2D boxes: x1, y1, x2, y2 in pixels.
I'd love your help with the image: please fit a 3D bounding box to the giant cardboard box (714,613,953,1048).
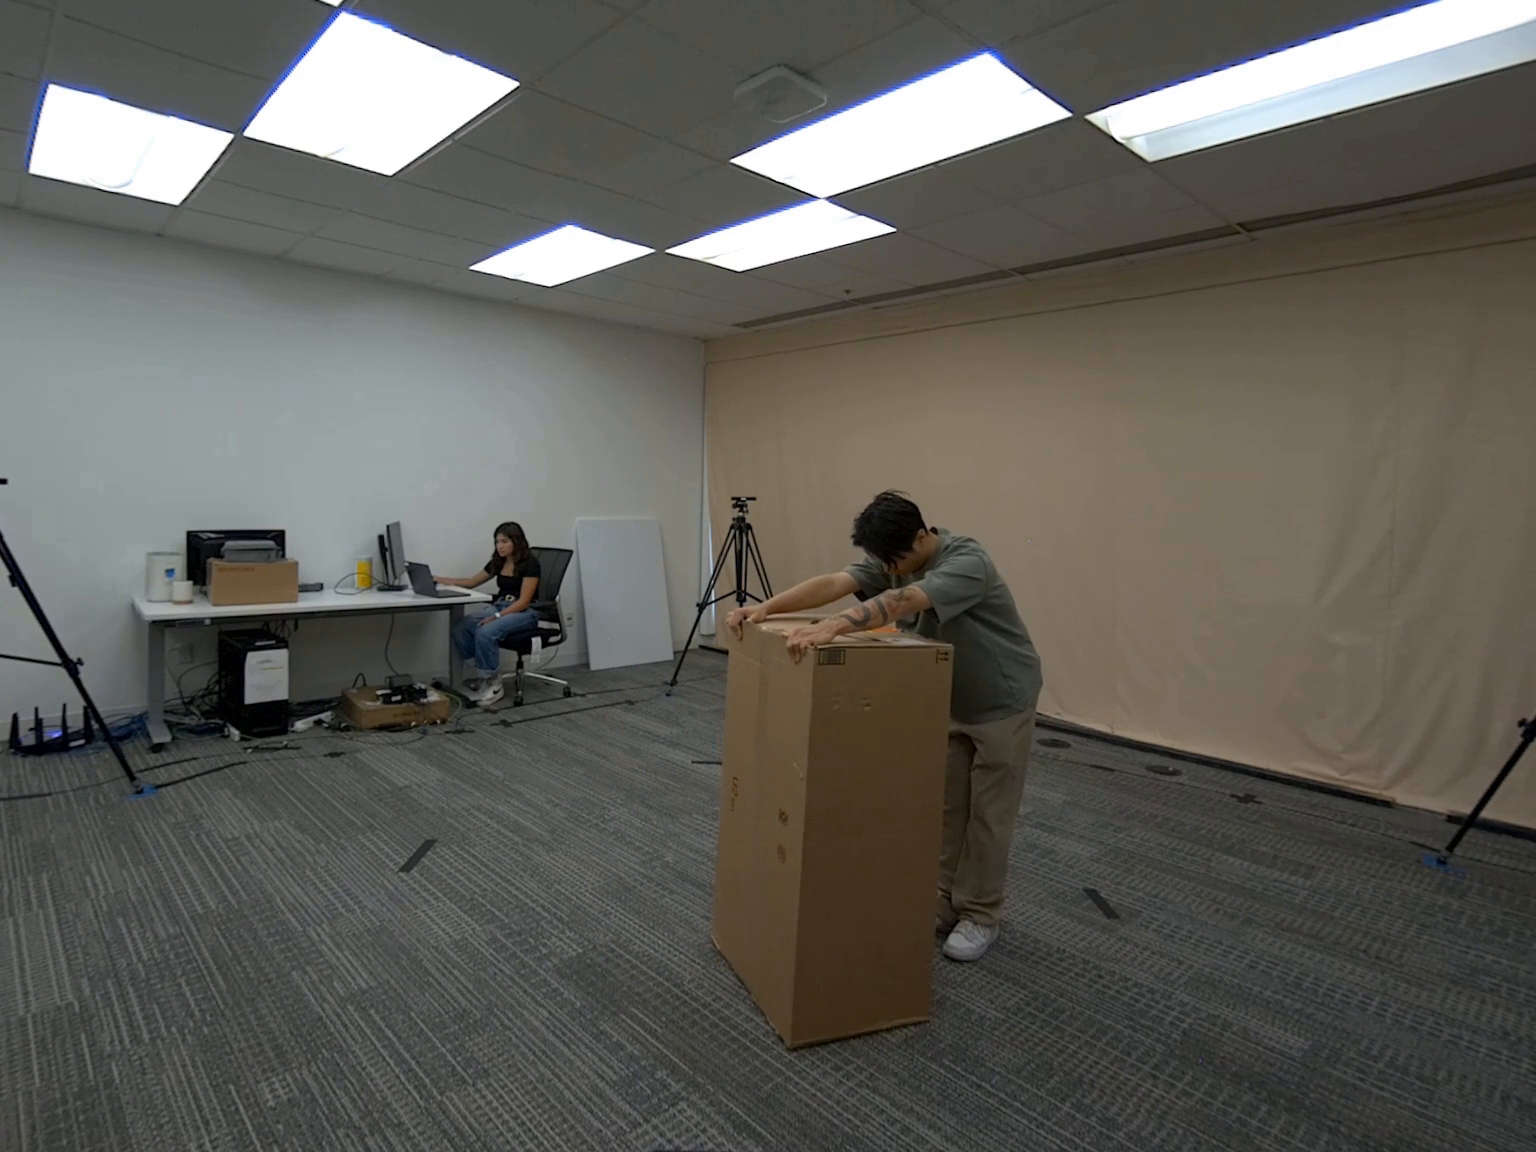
[{"bbox_3d":[0.159,0.662,2.436,0.419,1.024,0.589,2,3,-24],"label":"giant cardboard box"}]
